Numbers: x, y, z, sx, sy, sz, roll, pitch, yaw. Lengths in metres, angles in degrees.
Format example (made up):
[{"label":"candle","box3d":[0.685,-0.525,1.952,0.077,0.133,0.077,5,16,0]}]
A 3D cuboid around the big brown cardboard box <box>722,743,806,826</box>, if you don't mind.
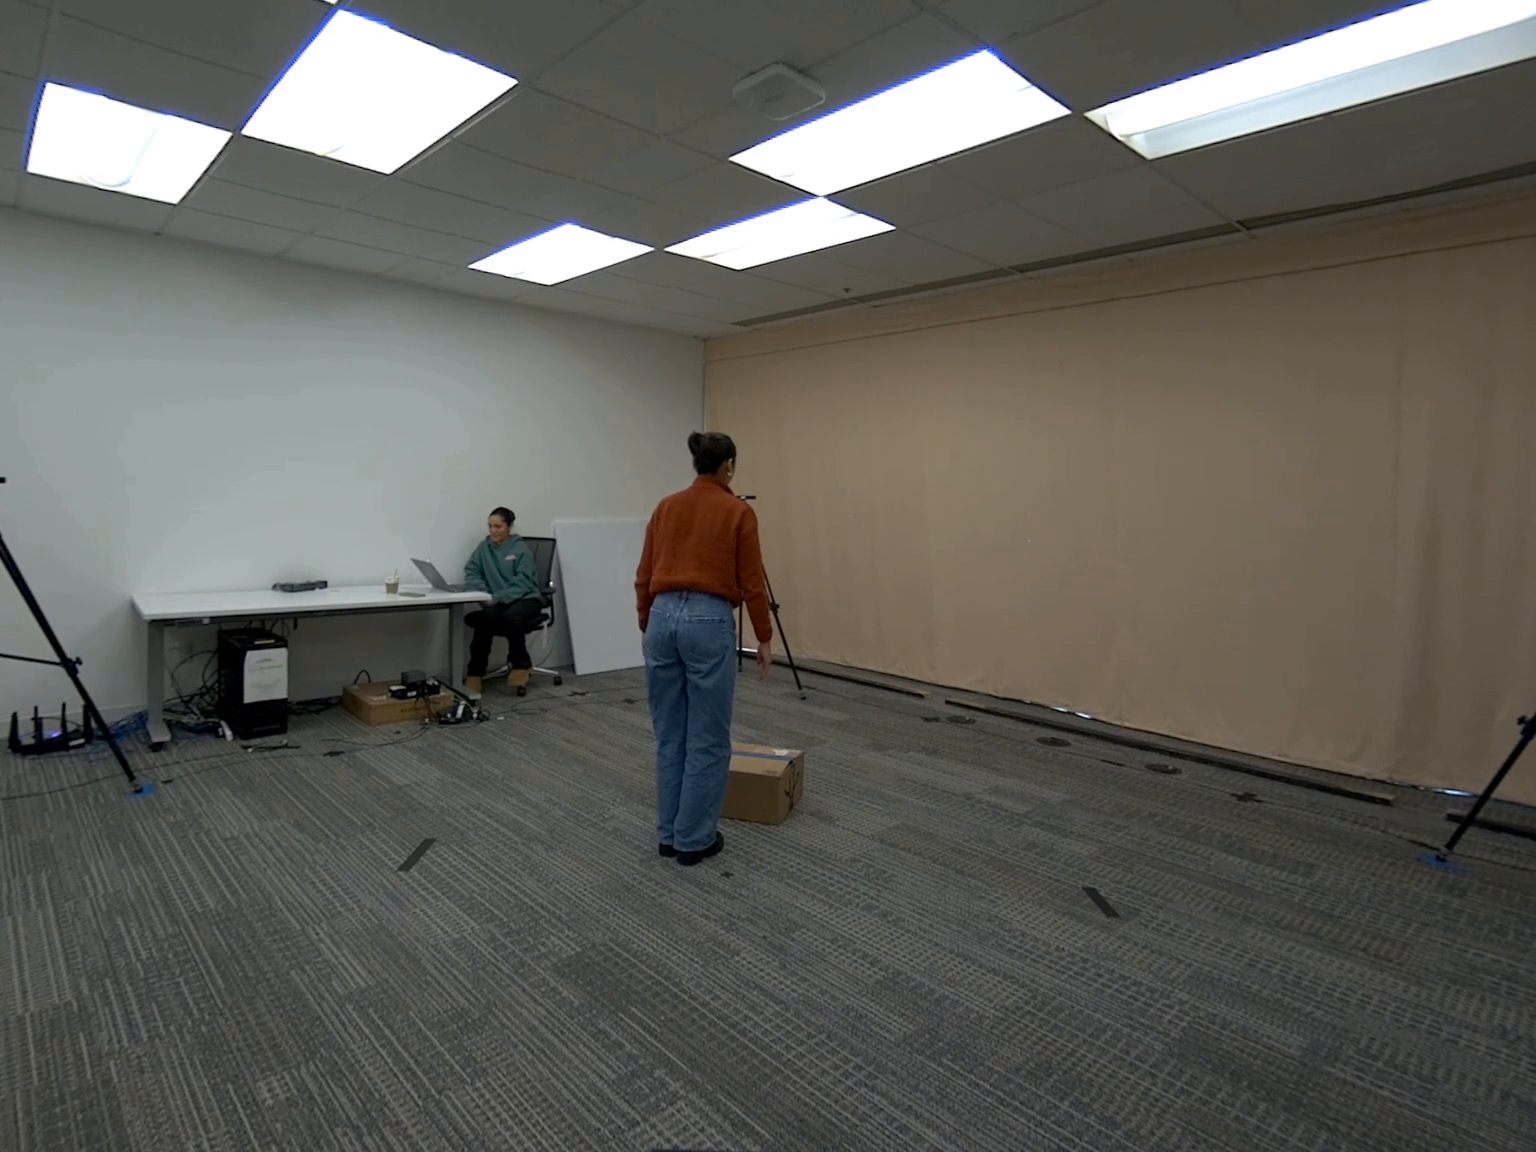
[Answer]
[{"label":"big brown cardboard box","box3d":[-0.167,0.920,3.851,0.597,0.232,0.413,3,4,17]}]
